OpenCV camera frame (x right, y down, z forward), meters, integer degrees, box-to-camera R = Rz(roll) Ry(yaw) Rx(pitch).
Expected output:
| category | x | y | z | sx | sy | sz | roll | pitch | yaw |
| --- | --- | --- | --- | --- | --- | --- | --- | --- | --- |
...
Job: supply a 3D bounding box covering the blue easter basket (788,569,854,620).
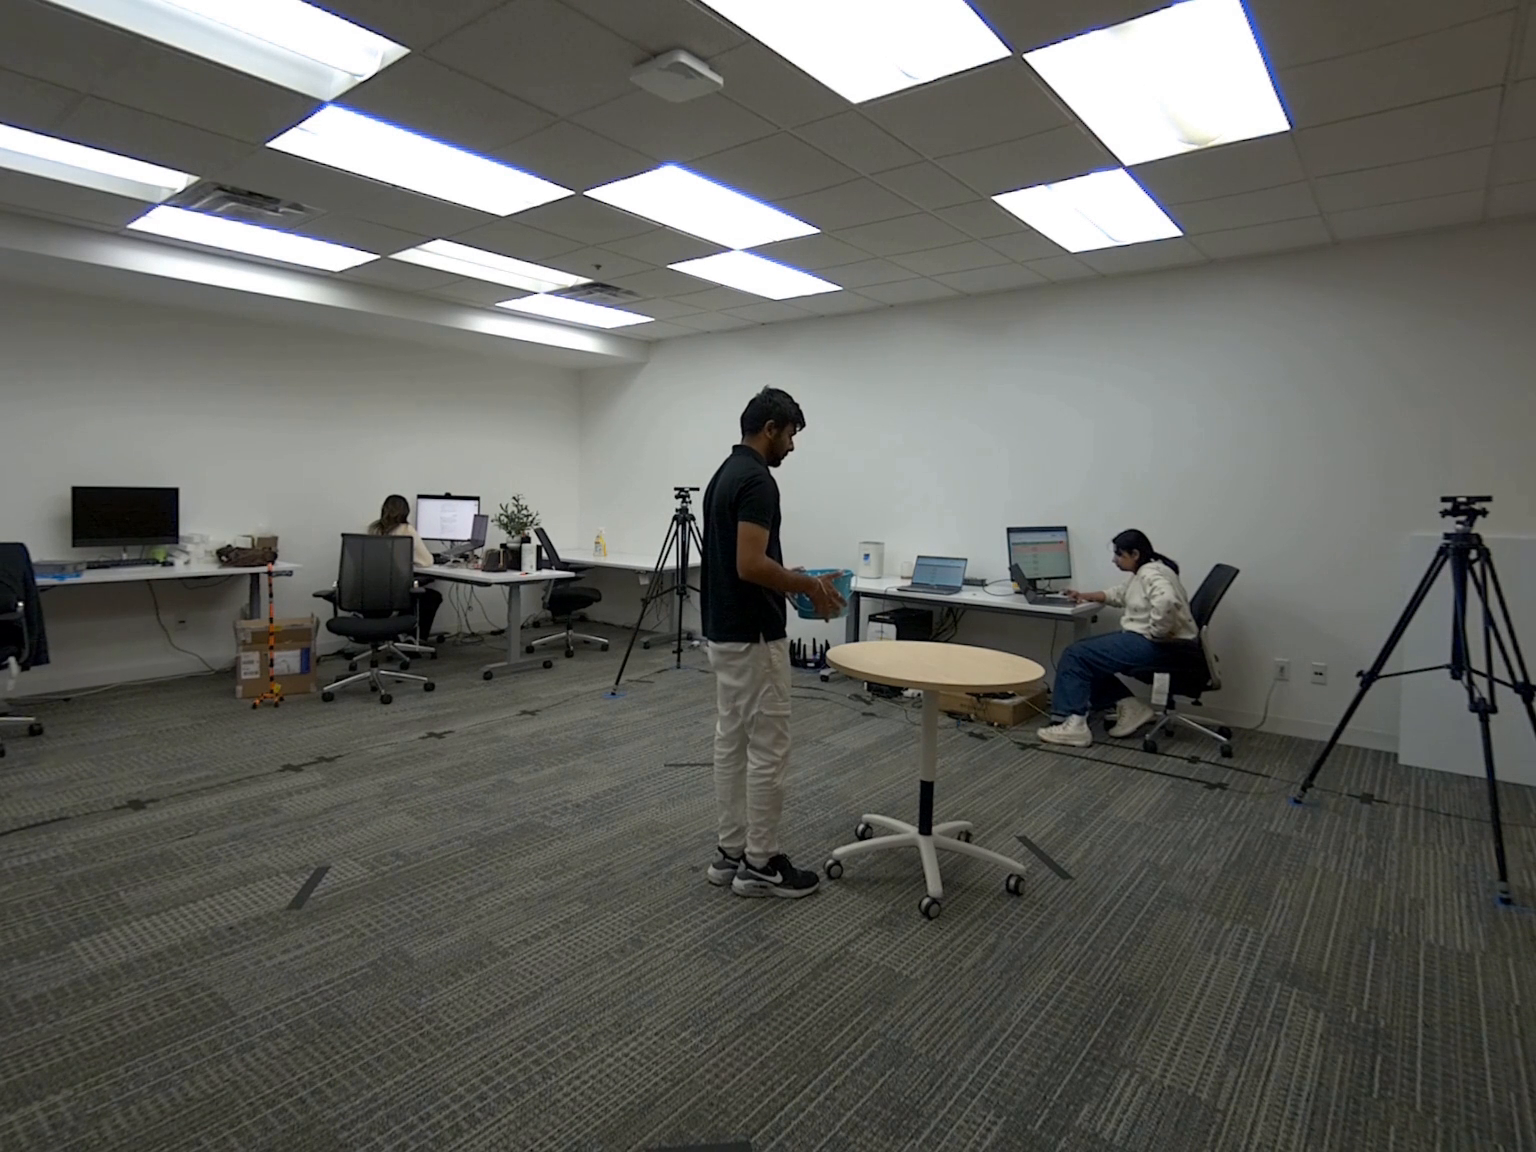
| category | x | y | z | sx | sy | sz | roll | pitch | yaw |
| --- | --- | --- | --- | --- | --- | --- | --- | --- | --- |
| blue easter basket | 0.170 | 0.059 | 3.050 | 0.243 | 0.155 | 0.245 | 0 | 7 | -2 |
